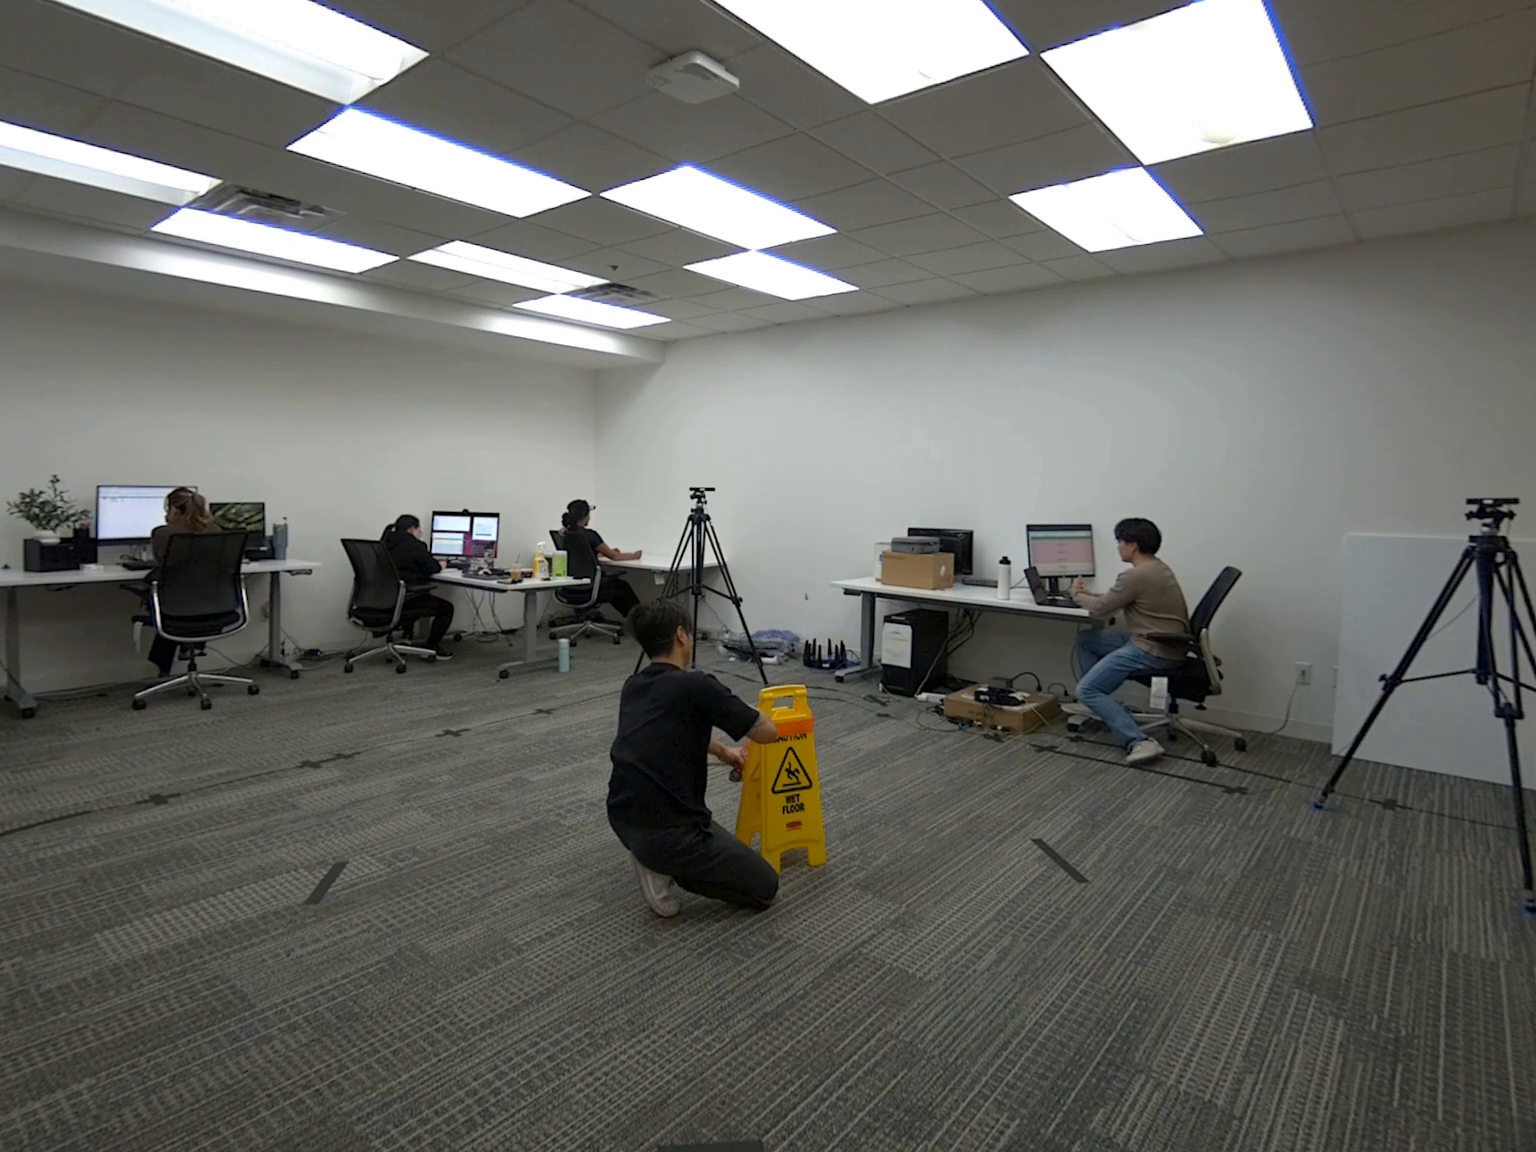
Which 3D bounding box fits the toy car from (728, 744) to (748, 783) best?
[{"bbox_3d":[-0.068,0.692,3.339,0.086,0.254,0.125,22,-1,34],"label":"toy car"}]
